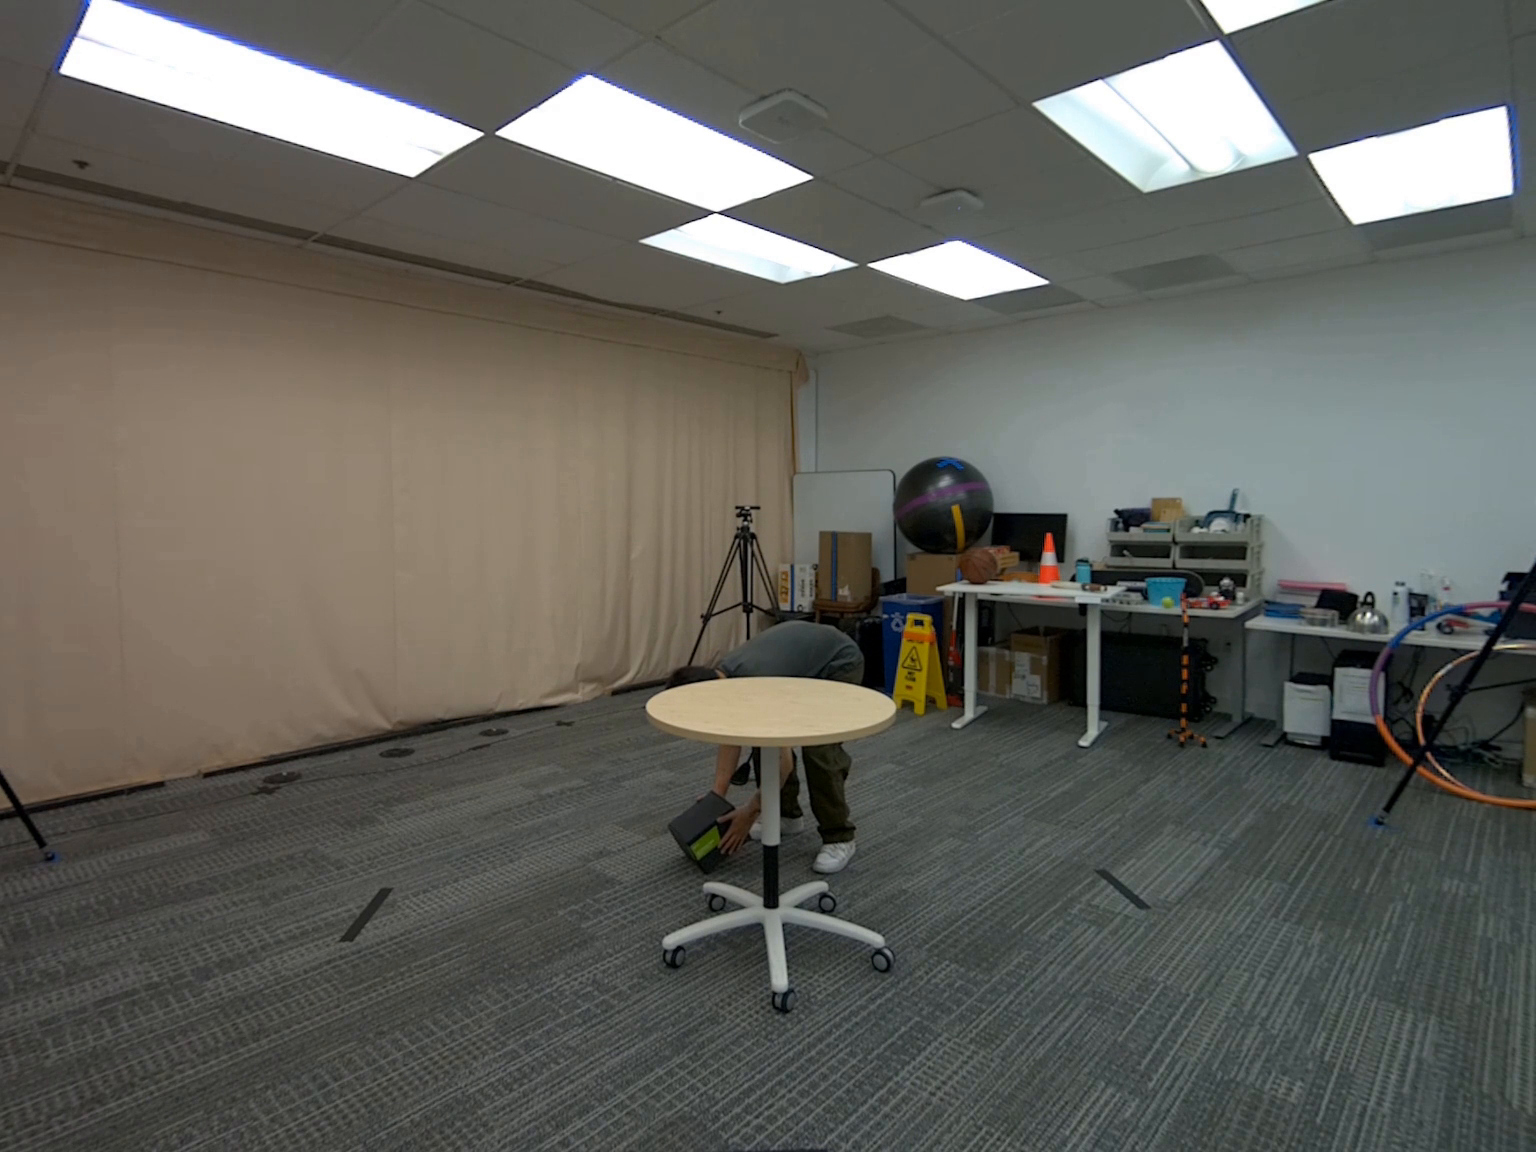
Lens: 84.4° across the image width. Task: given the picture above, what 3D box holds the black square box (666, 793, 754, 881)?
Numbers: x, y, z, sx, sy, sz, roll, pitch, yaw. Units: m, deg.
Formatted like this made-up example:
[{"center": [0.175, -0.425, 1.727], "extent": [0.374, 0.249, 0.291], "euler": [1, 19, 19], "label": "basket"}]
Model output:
[{"center": [-0.229, 1.003, 3.285], "extent": [0.225, 0.153, 0.222], "euler": [-34, 16, -21], "label": "black square box"}]
